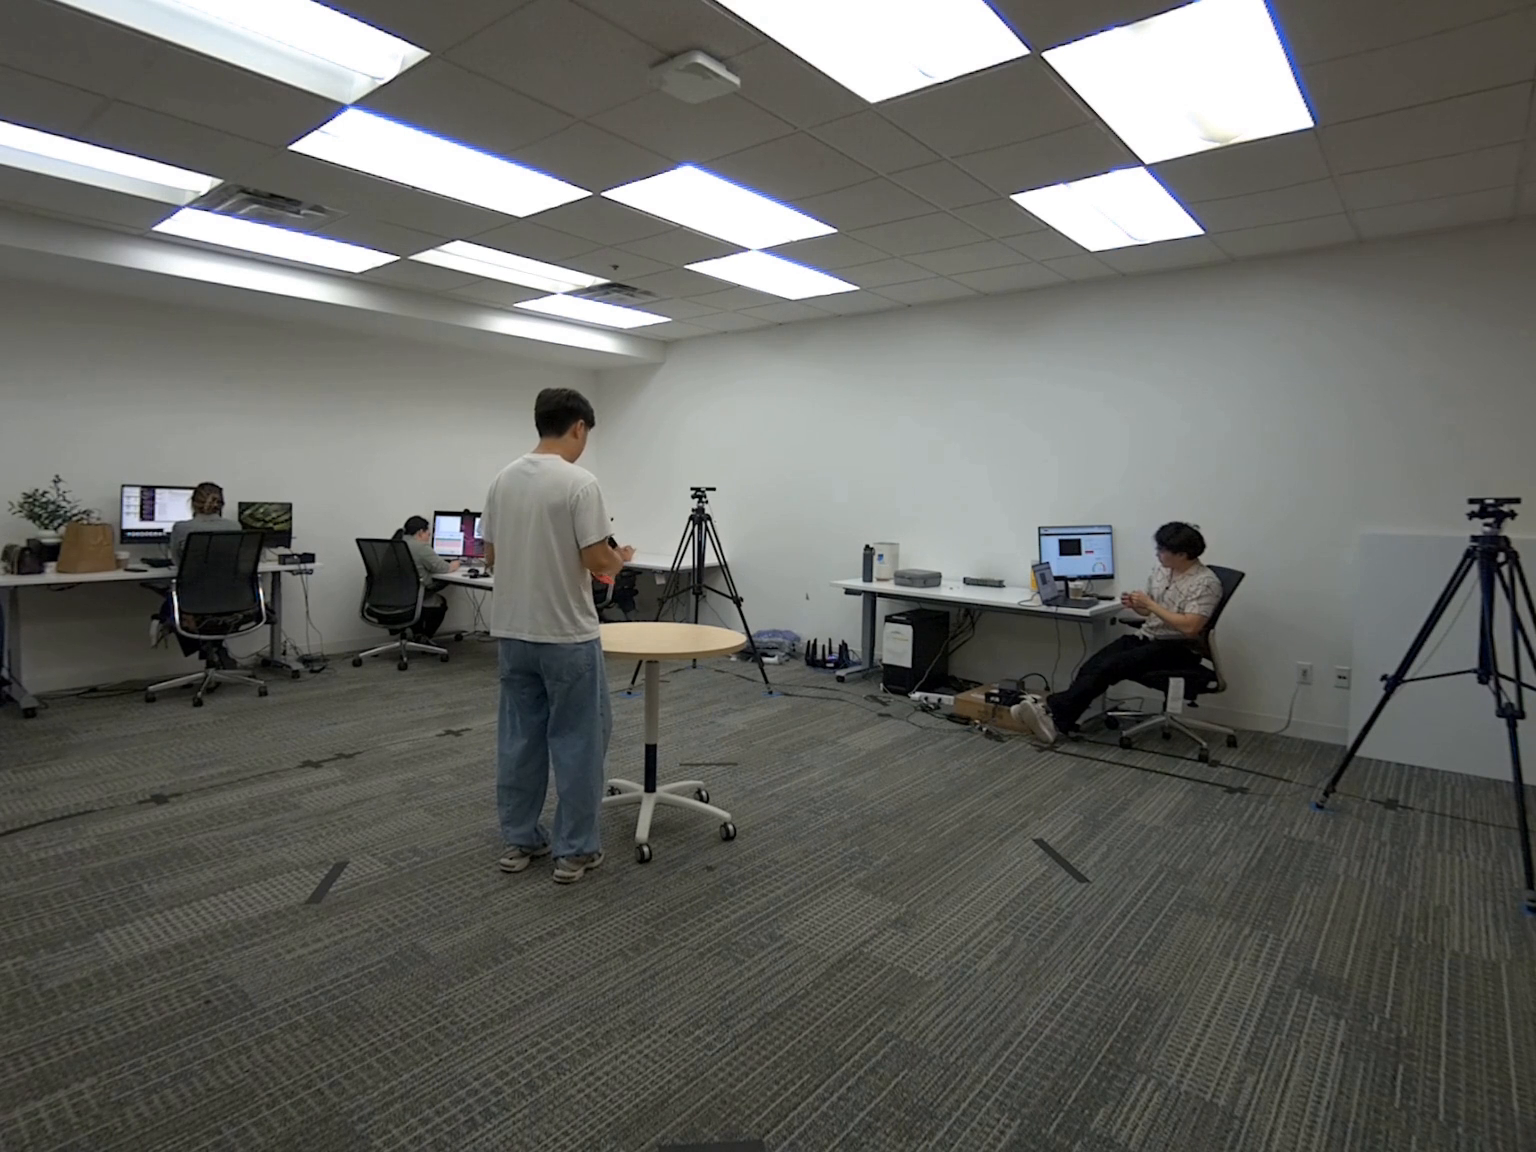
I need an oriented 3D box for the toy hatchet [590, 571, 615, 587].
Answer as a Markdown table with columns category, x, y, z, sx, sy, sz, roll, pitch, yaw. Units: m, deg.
| category | x | y | z | sx | sy | sz | roll | pitch | yaw |
| --- | --- | --- | --- | --- | --- | --- | --- | --- | --- |
| toy hatchet | -0.682 | -0.011 | 3.294 | 0.029 | 0.133 | 0.265 | -38 | -11 | 4 |
